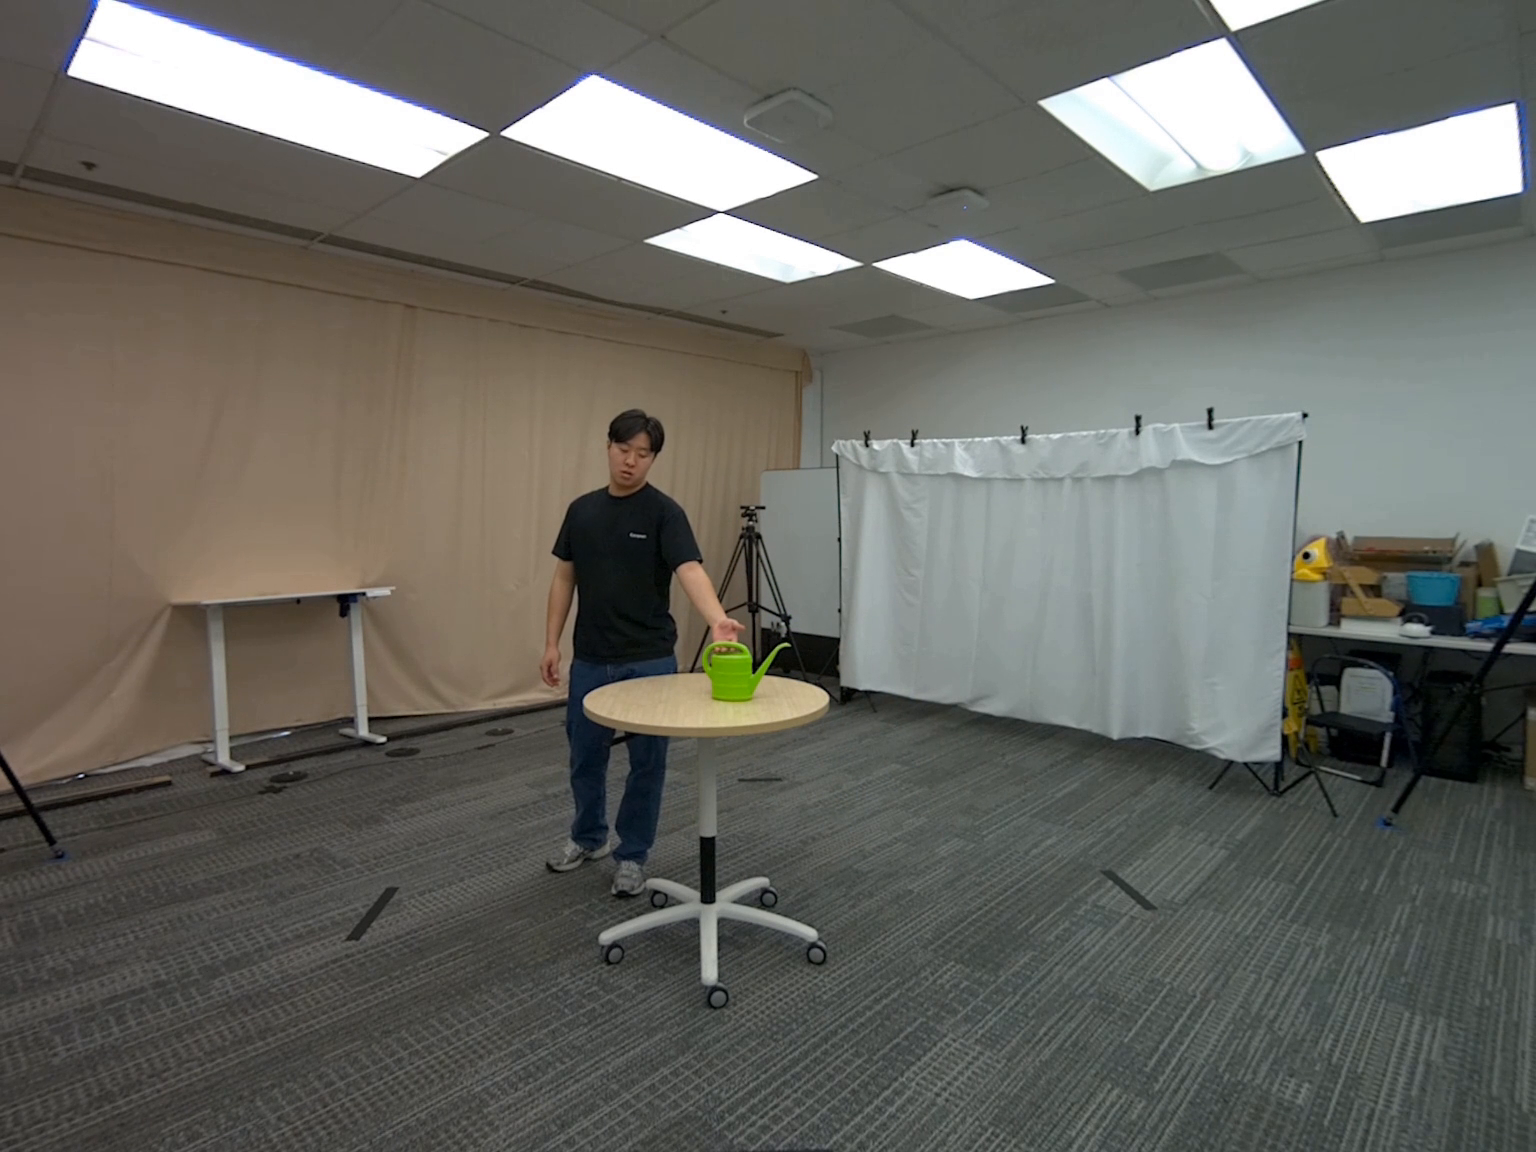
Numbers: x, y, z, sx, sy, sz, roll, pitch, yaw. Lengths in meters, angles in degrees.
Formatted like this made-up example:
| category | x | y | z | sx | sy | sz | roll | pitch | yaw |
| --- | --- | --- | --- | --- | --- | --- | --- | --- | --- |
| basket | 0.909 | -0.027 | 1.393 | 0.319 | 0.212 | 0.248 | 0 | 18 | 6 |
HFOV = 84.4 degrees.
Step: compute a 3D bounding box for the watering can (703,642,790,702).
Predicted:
| category | x | y | z | sx | sy | sz | roll | pitch | yaw |
| --- | --- | --- | --- | --- | --- | --- | --- | --- | --- |
| watering can | -0.067 | 0.293 | 2.582 | 0.285 | 0.176 | 0.096 | -2 | 3 | 26 |
